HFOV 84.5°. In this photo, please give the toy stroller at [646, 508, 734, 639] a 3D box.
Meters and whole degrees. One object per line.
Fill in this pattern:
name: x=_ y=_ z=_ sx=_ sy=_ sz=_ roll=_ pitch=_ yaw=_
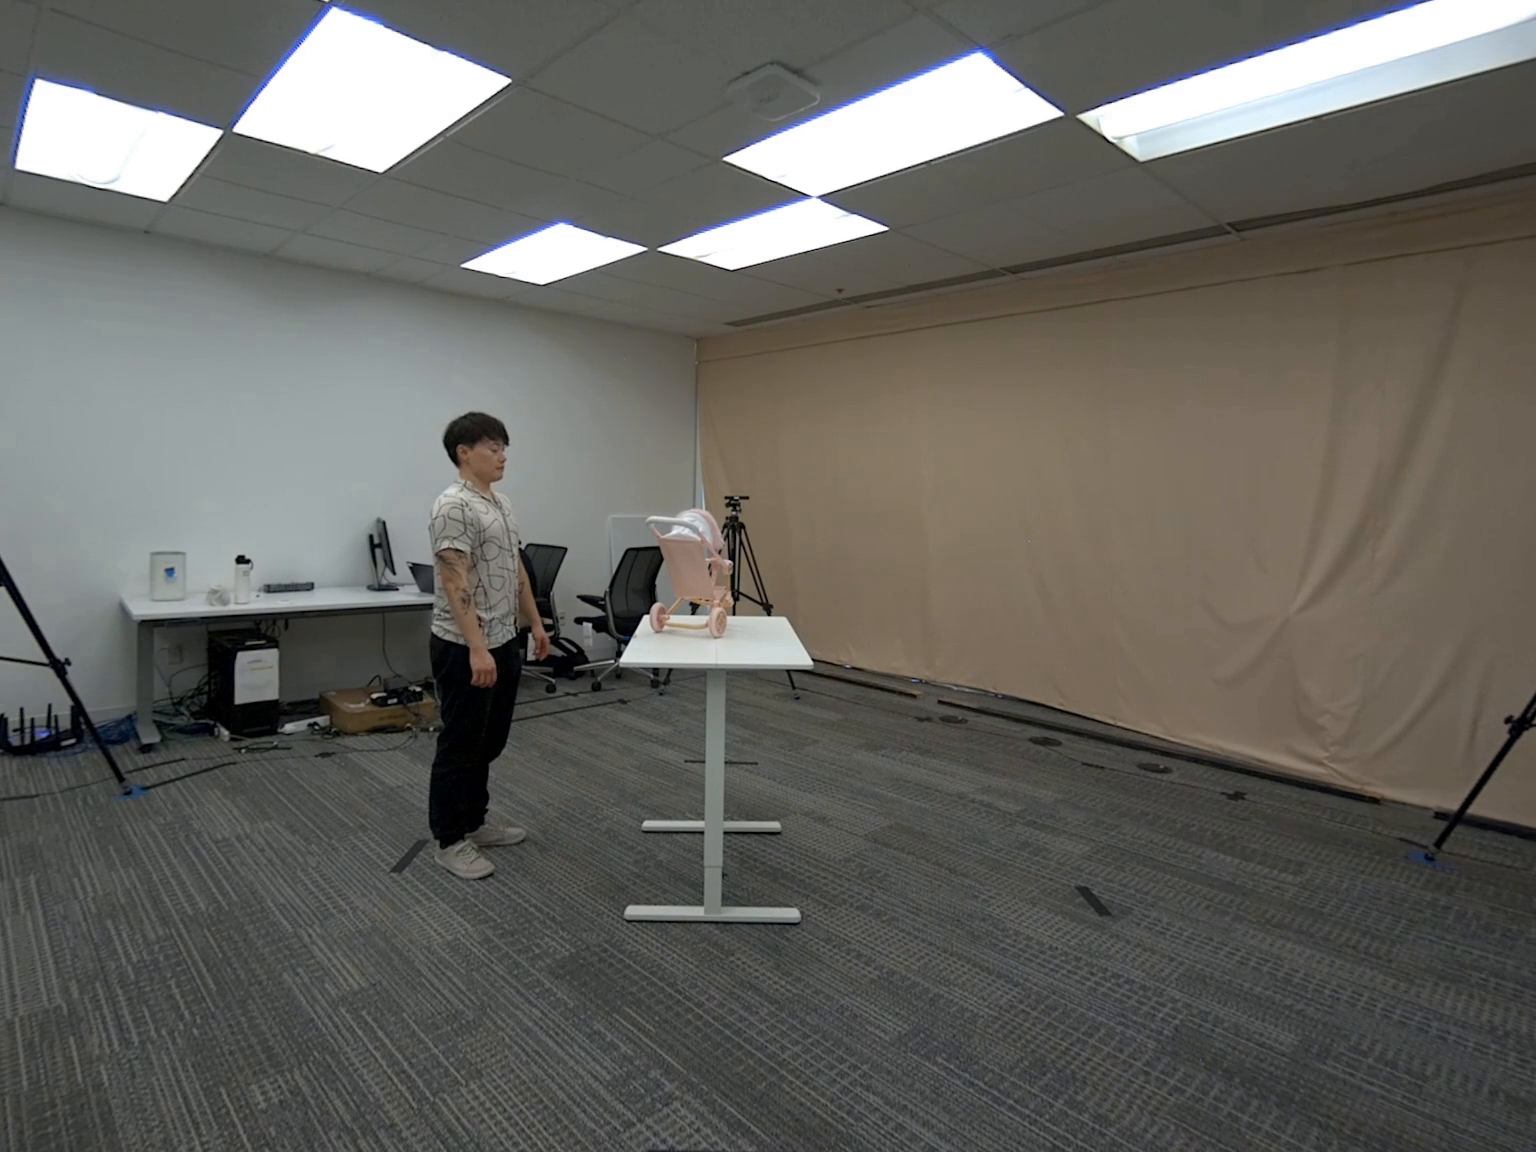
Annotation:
toy stroller: x=-0.274 y=-0.011 z=3.151 sx=0.287 sy=0.527 sz=0.339 roll=4 pitch=20 yaw=28
